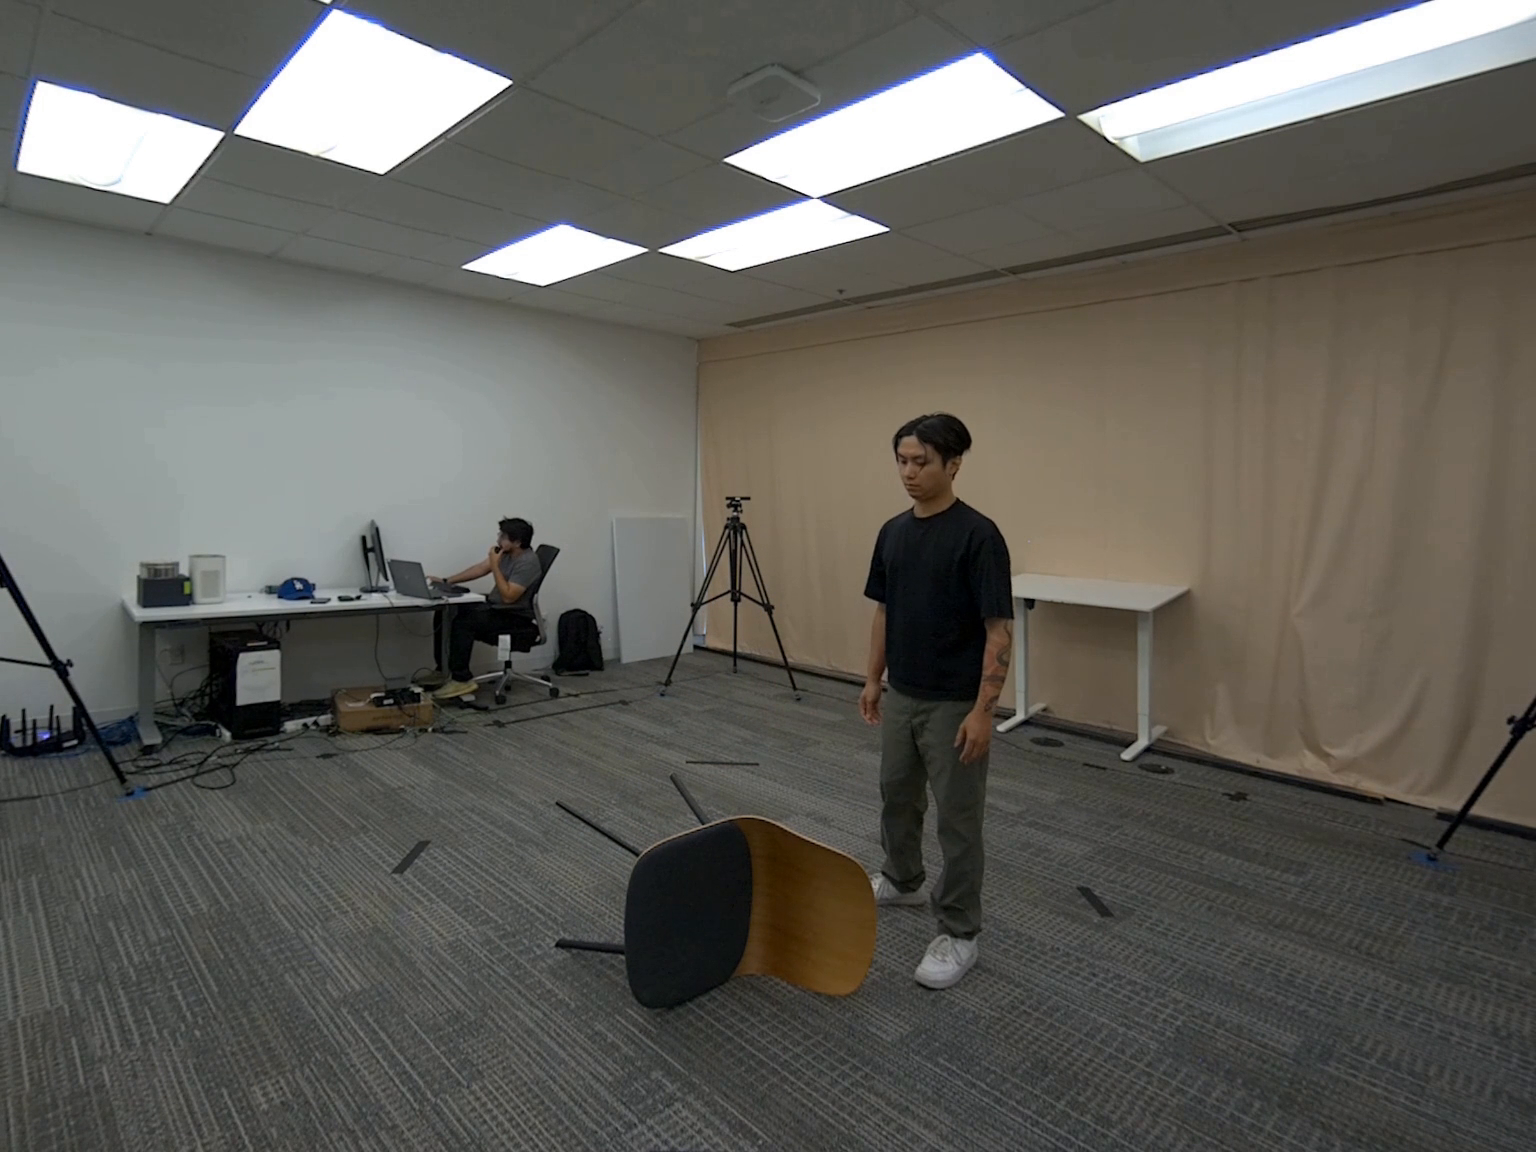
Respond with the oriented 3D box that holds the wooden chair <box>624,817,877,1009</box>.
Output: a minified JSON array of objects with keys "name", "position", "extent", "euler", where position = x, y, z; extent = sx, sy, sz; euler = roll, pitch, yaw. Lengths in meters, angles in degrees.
[{"name":"wooden chair","position":[-0.202,0.938,2.406],"extent":[0.900,0.477,0.511],"euler":[5,5,43]}]
